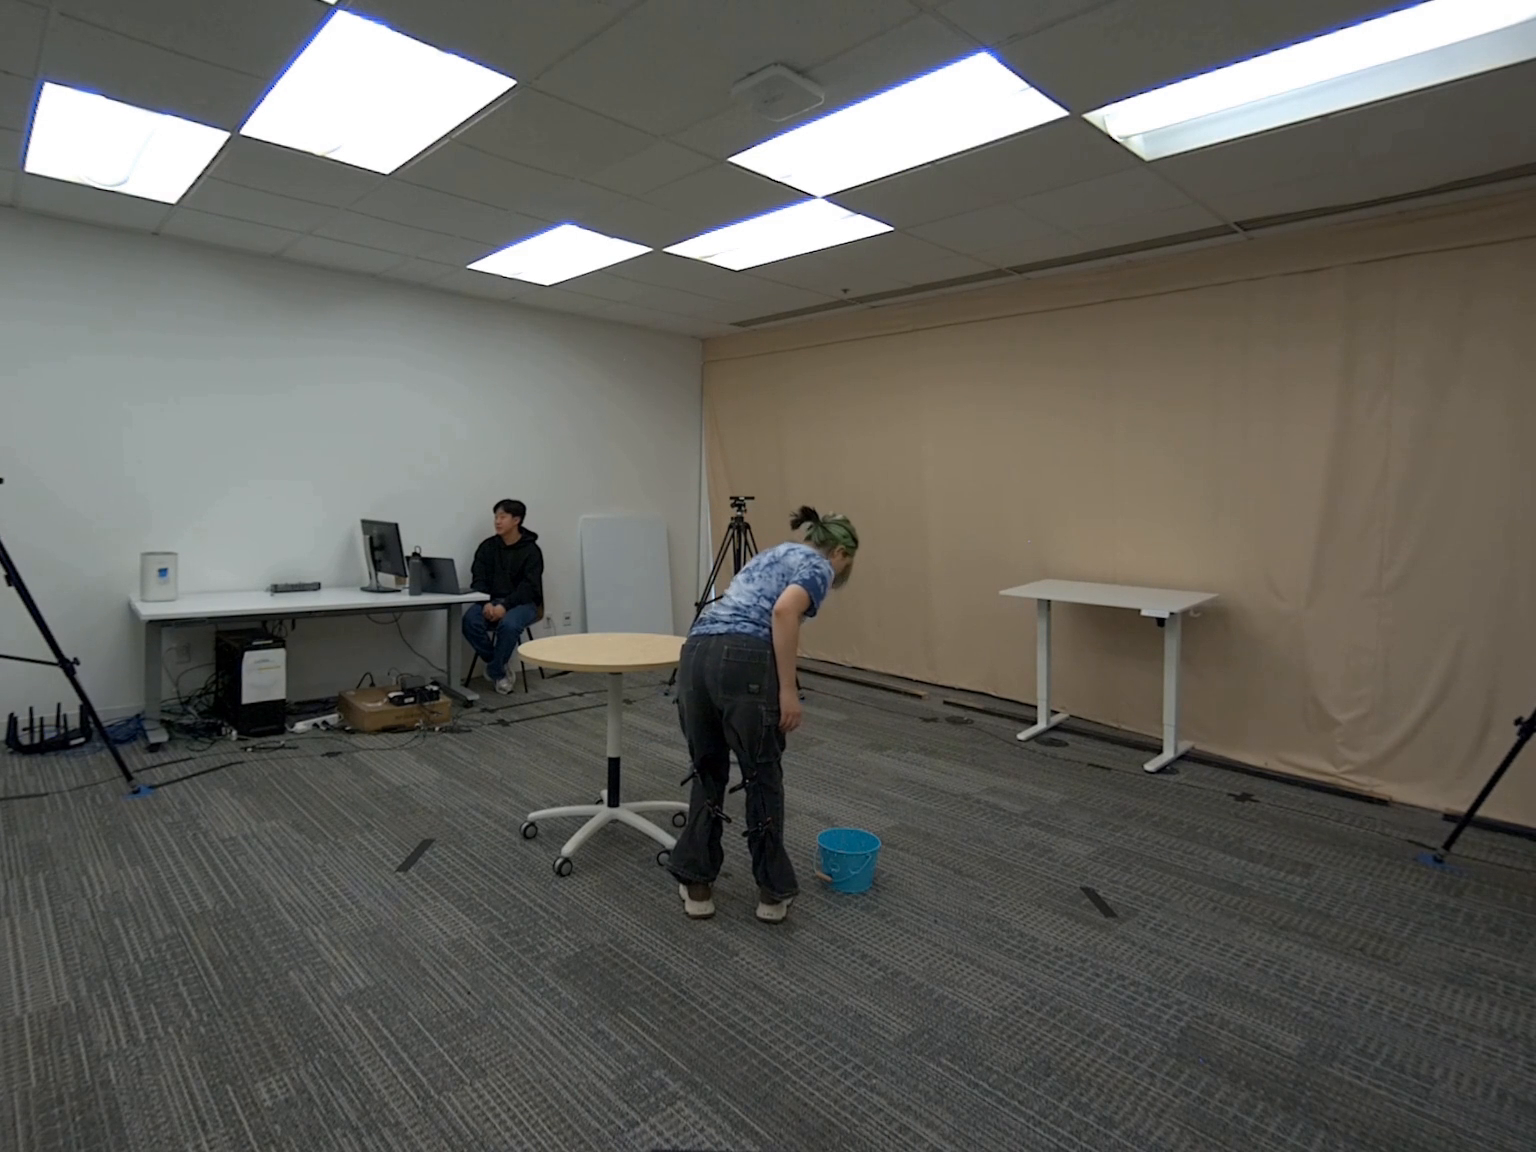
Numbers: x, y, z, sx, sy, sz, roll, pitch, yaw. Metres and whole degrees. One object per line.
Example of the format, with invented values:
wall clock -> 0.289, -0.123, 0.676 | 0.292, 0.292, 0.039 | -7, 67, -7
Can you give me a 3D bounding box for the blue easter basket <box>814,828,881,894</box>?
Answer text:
blue easter basket -> 0.282, 1.037, 3.074 | 0.243, 0.155, 0.244 | 2, 5, -1
